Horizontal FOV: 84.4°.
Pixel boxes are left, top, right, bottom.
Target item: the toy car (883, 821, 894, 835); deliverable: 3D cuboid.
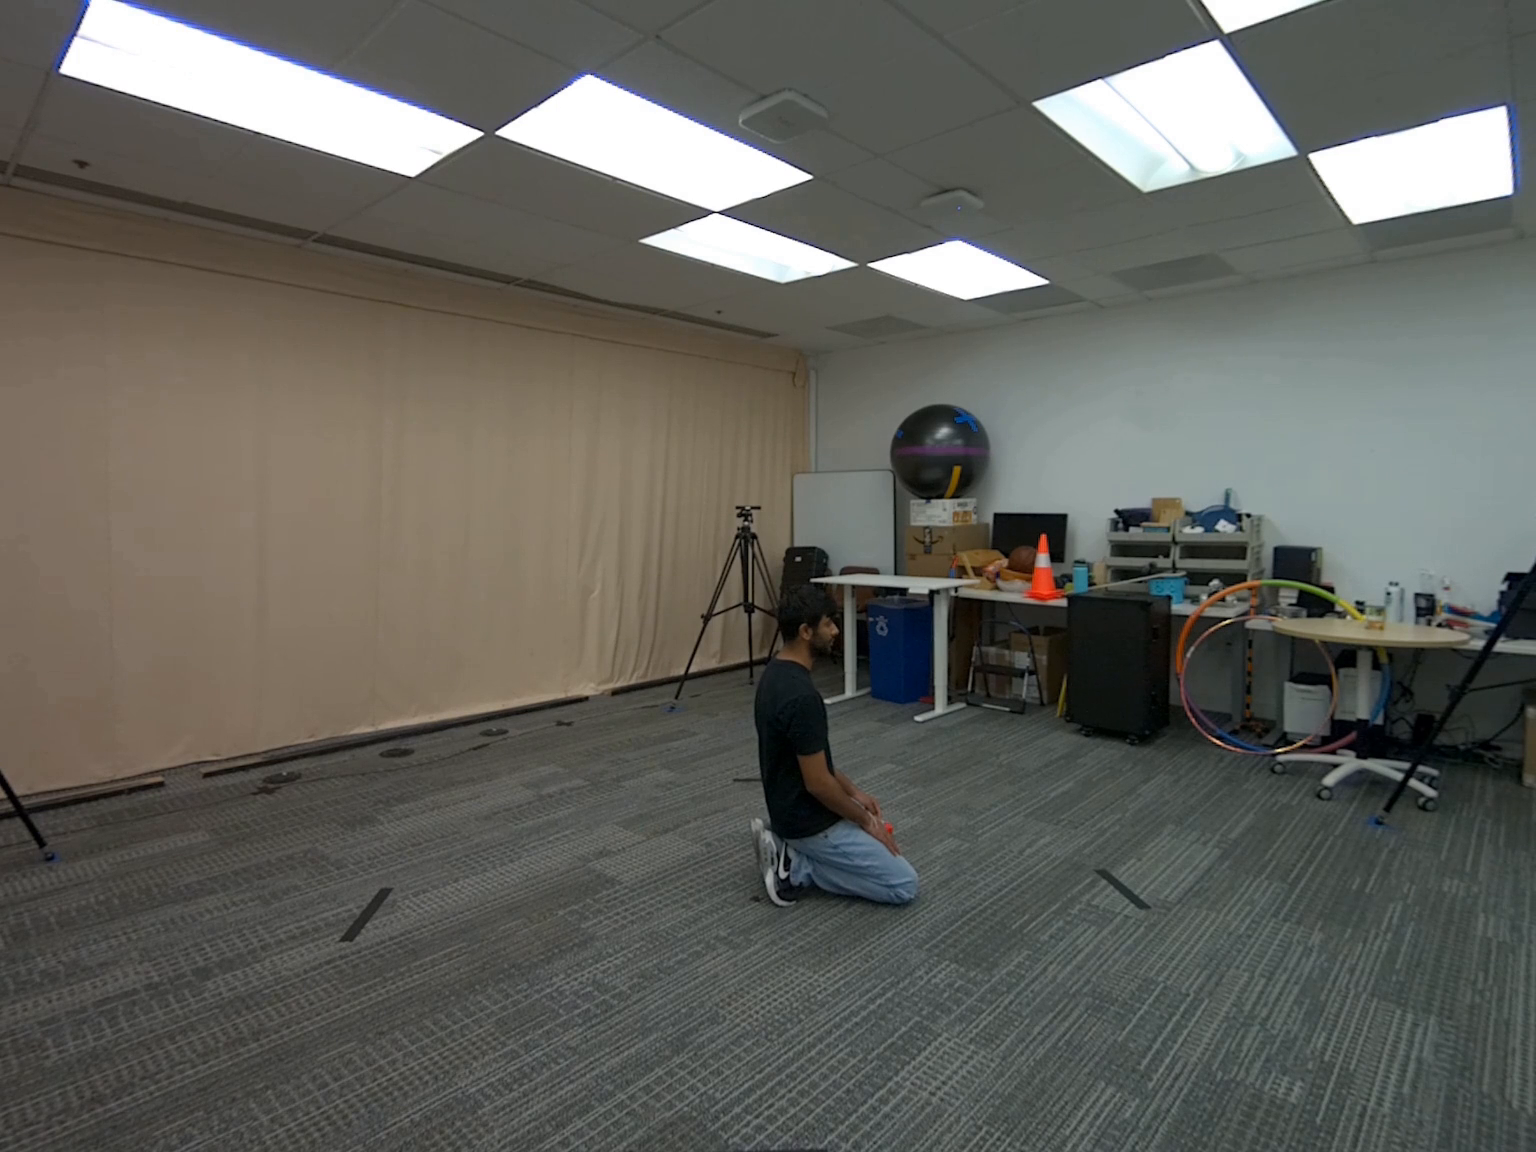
[{"bbox_3d":[0.411,1.054,3.608,0.126,0.083,0.264,-3,16,-43],"label":"toy car"}]
